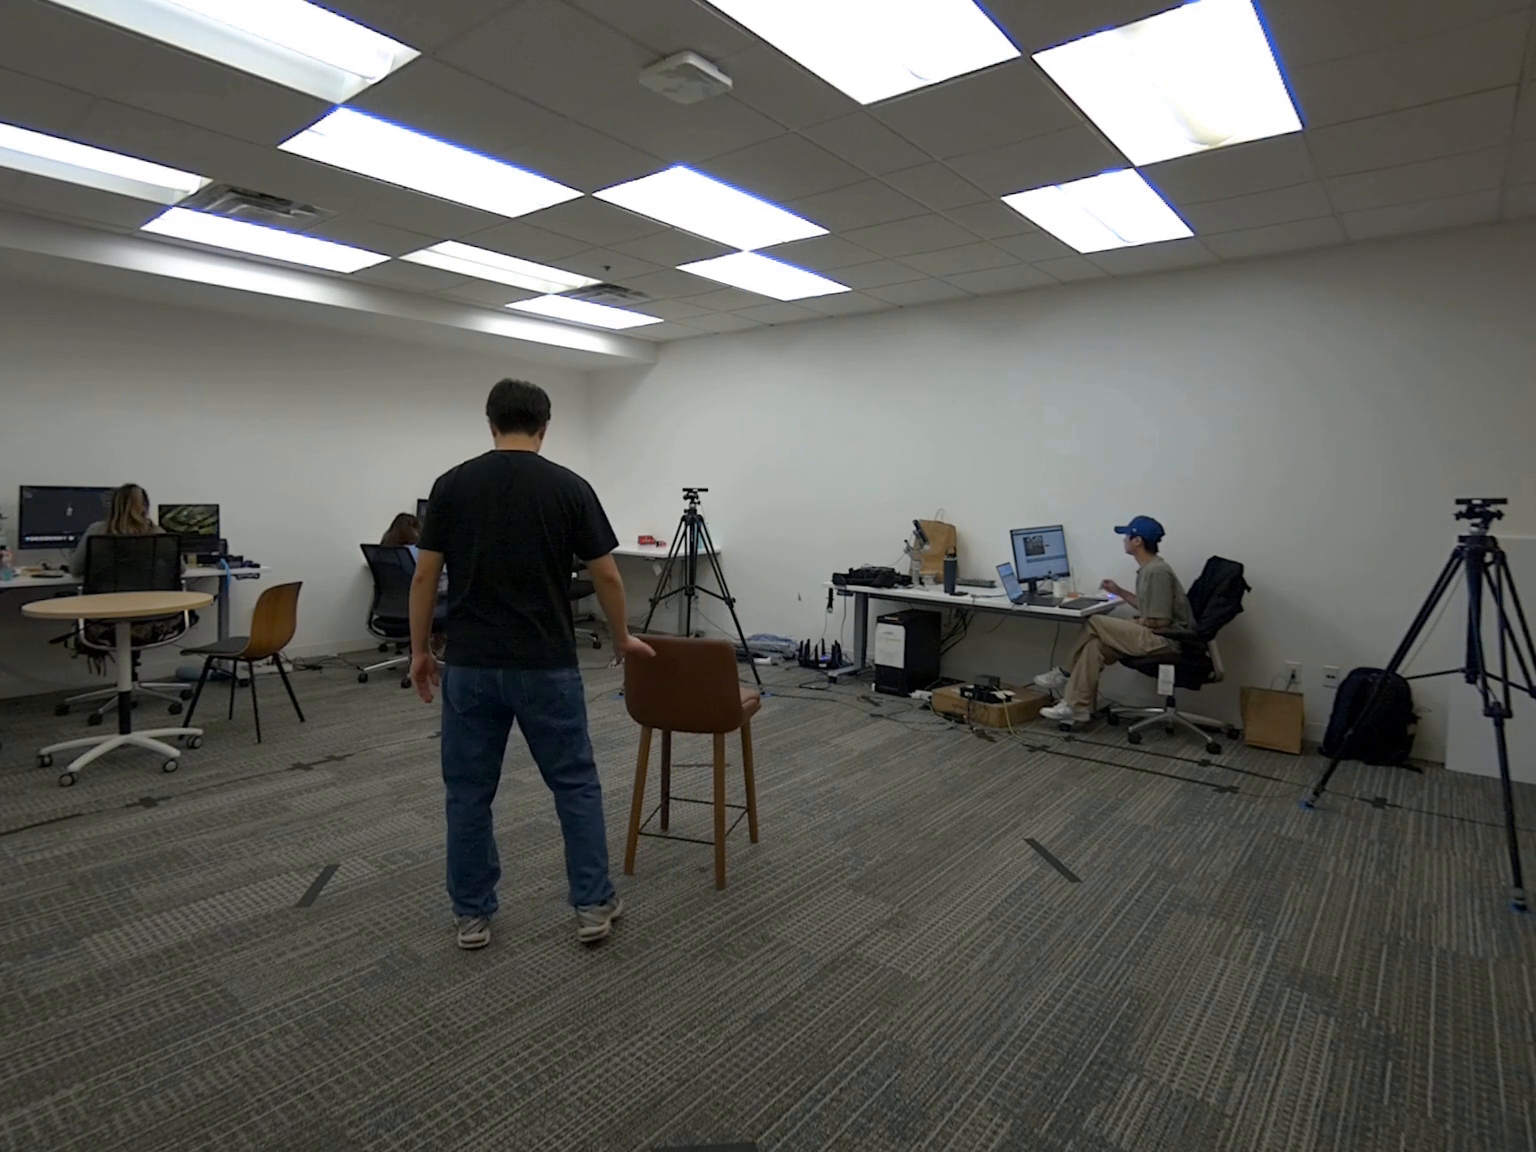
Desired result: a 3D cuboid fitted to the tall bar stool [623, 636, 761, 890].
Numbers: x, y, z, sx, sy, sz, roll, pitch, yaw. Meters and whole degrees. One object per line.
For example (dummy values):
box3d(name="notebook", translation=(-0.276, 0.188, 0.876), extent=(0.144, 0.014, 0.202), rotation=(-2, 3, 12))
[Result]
box3d(name="tall bar stool", translation=(-0.292, 0.625, 3.190), extent=(0.465, 0.886, 0.461), rotation=(1, 5, 16))
